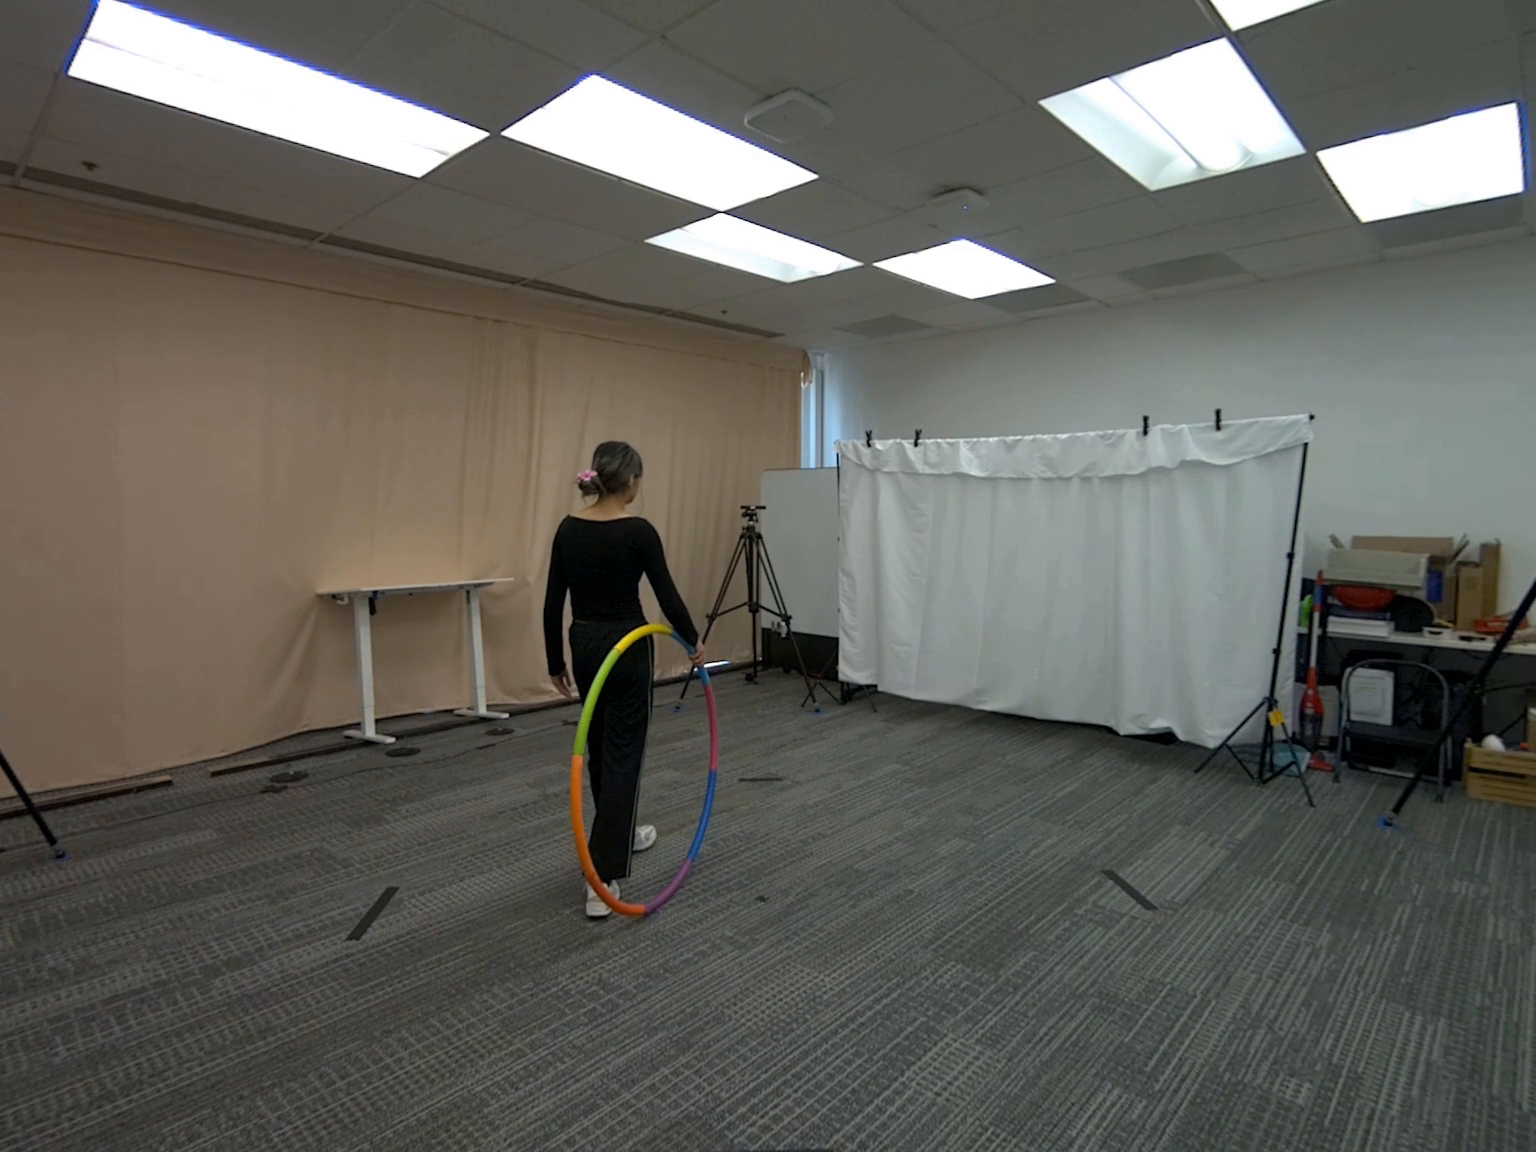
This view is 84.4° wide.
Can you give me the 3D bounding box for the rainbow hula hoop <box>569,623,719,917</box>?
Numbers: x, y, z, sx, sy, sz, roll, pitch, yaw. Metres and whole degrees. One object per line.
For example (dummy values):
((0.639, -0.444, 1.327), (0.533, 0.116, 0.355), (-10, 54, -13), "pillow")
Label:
((-0.394, 0.668, 2.957), (0.036, 0.977, 0.957), (-2, 3, 23), "rainbow hula hoop")
